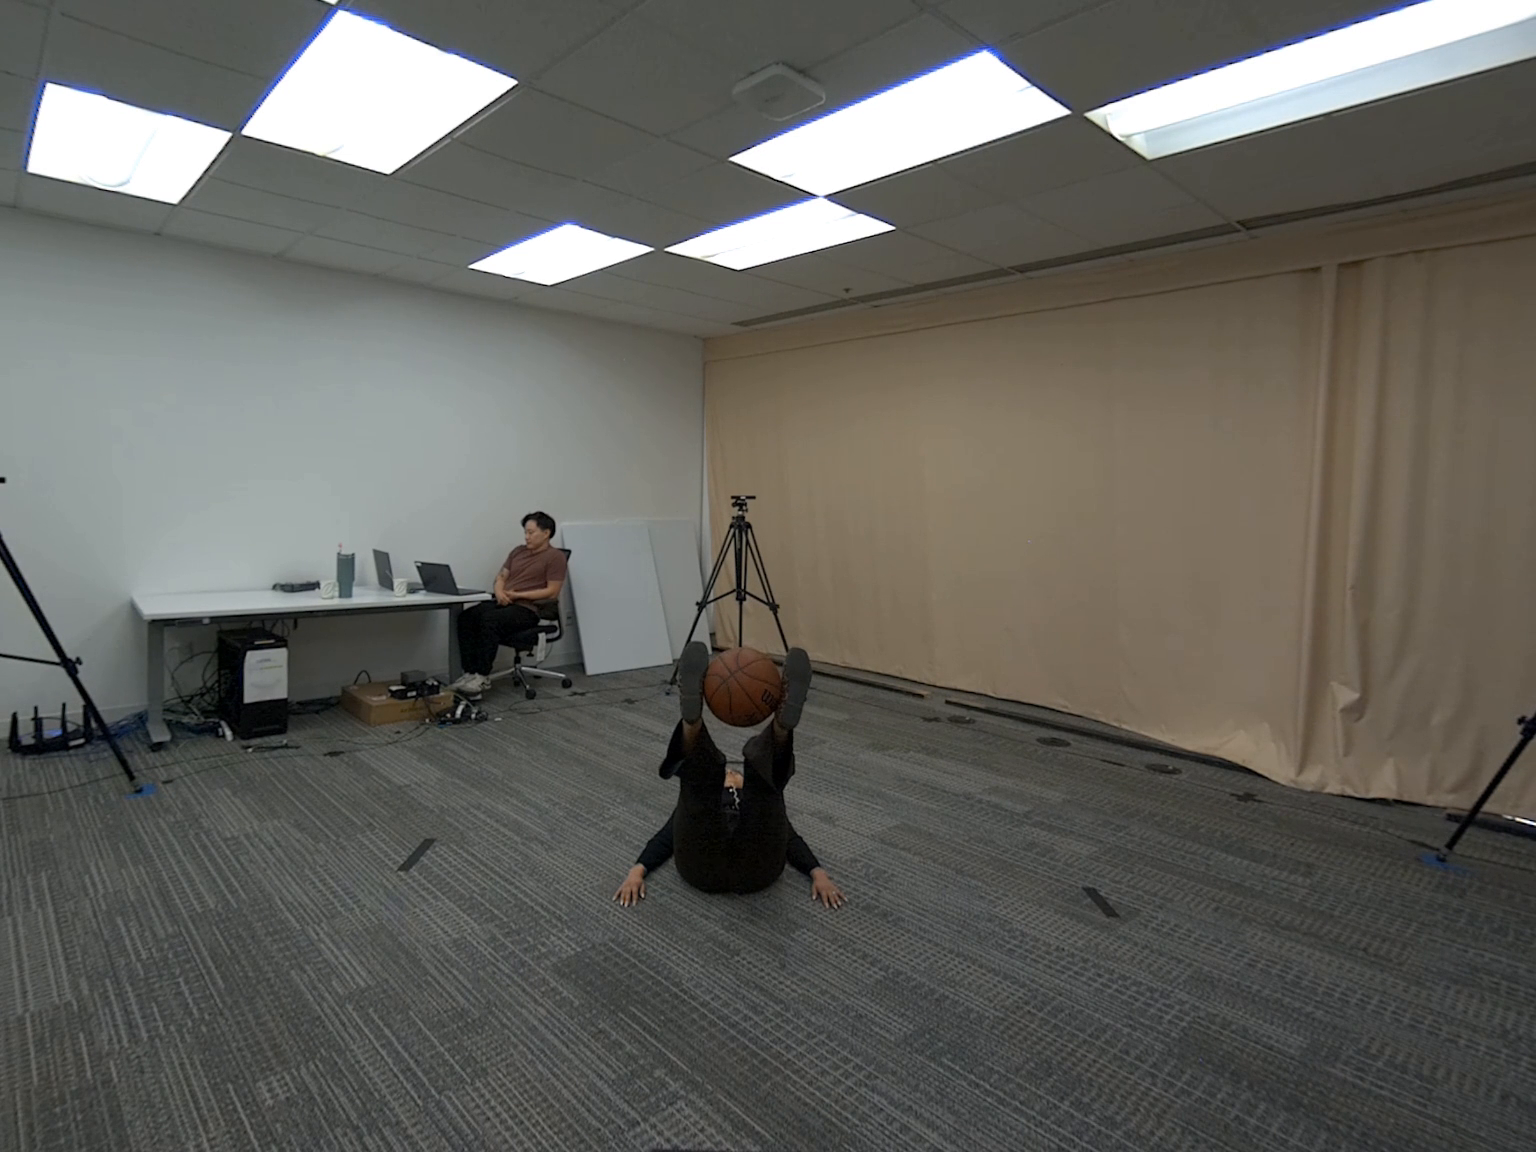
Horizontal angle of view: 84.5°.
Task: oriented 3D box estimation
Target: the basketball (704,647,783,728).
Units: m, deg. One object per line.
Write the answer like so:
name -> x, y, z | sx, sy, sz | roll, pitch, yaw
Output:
basketball -> -0.088, 0.331, 2.518 | 0.235, 0.235, 0.237 | 4, 5, -2
